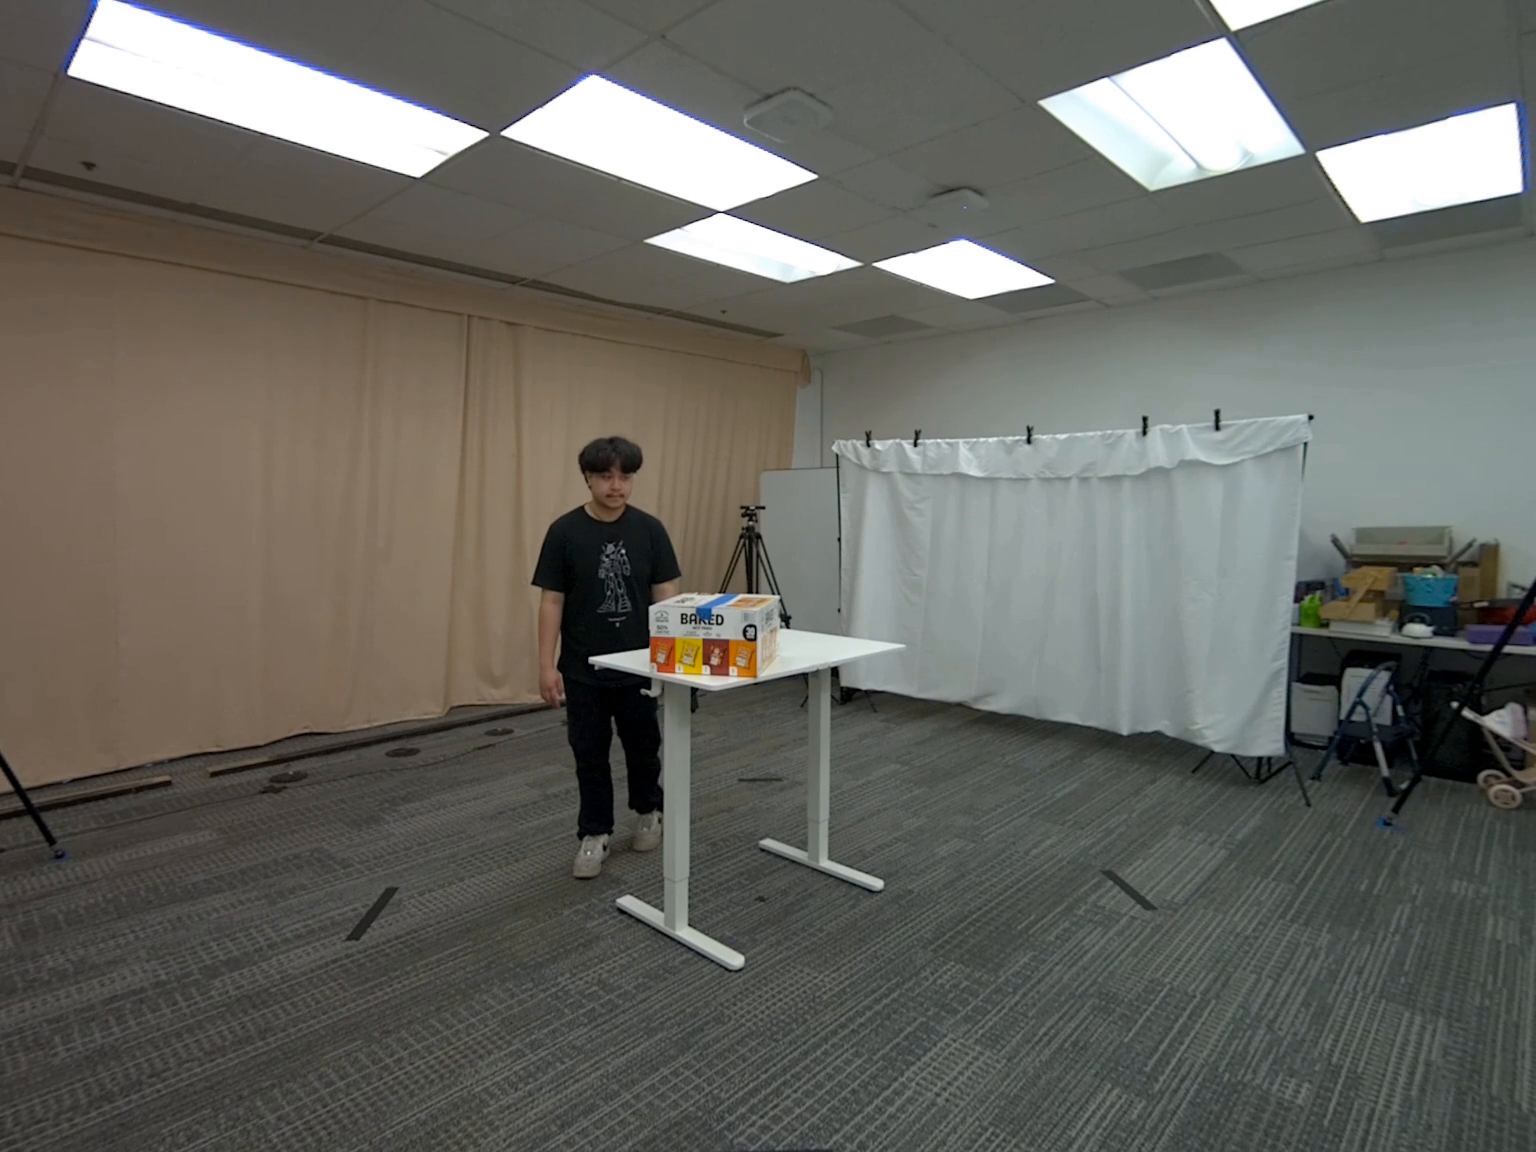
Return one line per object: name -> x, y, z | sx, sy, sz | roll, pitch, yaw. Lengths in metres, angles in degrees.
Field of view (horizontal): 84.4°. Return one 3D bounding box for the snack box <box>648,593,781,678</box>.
snack box -> -0.160, 0.179, 2.717 | 0.345, 0.205, 0.400 | 1, 4, 12
